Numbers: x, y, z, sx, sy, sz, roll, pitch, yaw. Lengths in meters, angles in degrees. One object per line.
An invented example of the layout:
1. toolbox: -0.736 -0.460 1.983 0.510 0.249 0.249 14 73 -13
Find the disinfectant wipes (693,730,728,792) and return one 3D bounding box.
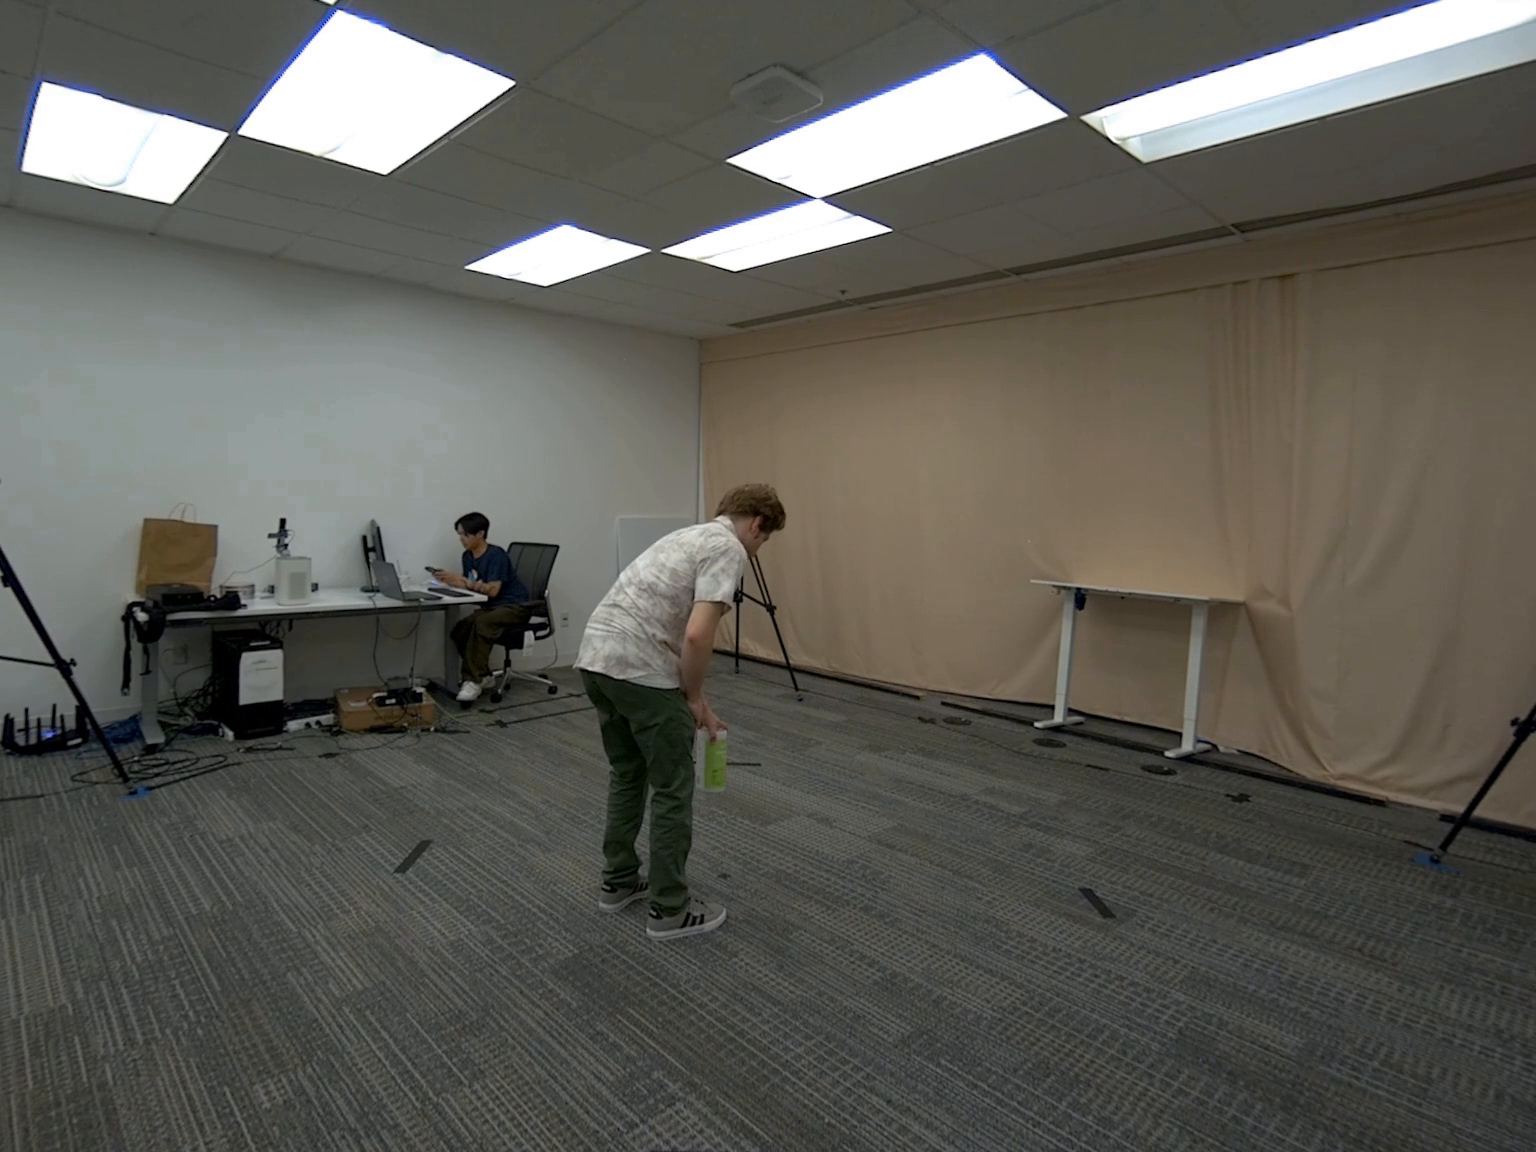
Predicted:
1. disinfectant wipes: -0.210 0.669 3.026 0.118 0.218 0.117 2 -3 -1
